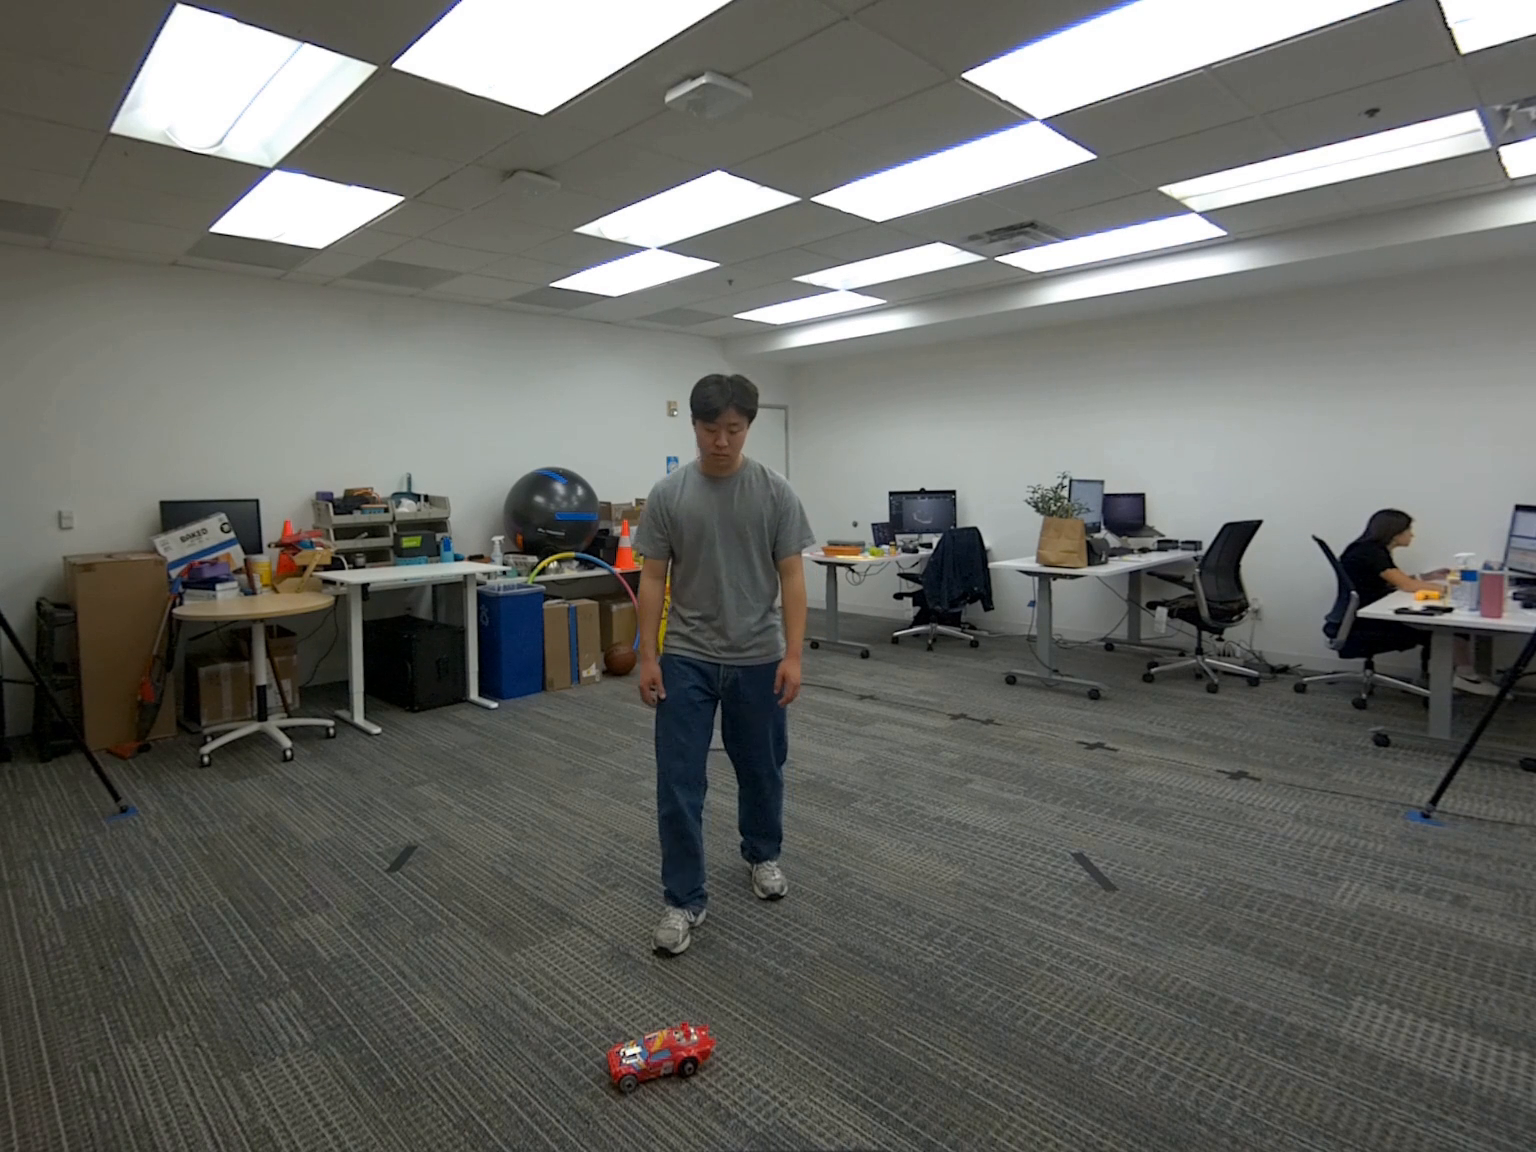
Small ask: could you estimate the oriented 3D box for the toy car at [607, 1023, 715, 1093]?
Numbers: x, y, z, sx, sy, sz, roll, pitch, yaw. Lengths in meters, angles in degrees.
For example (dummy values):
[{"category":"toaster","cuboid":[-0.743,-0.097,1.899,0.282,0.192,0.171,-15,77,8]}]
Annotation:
[{"category":"toy car","cuboid":[-0.249,1.150,2.036,0.251,0.082,0.133,-16,10,-17]}]
